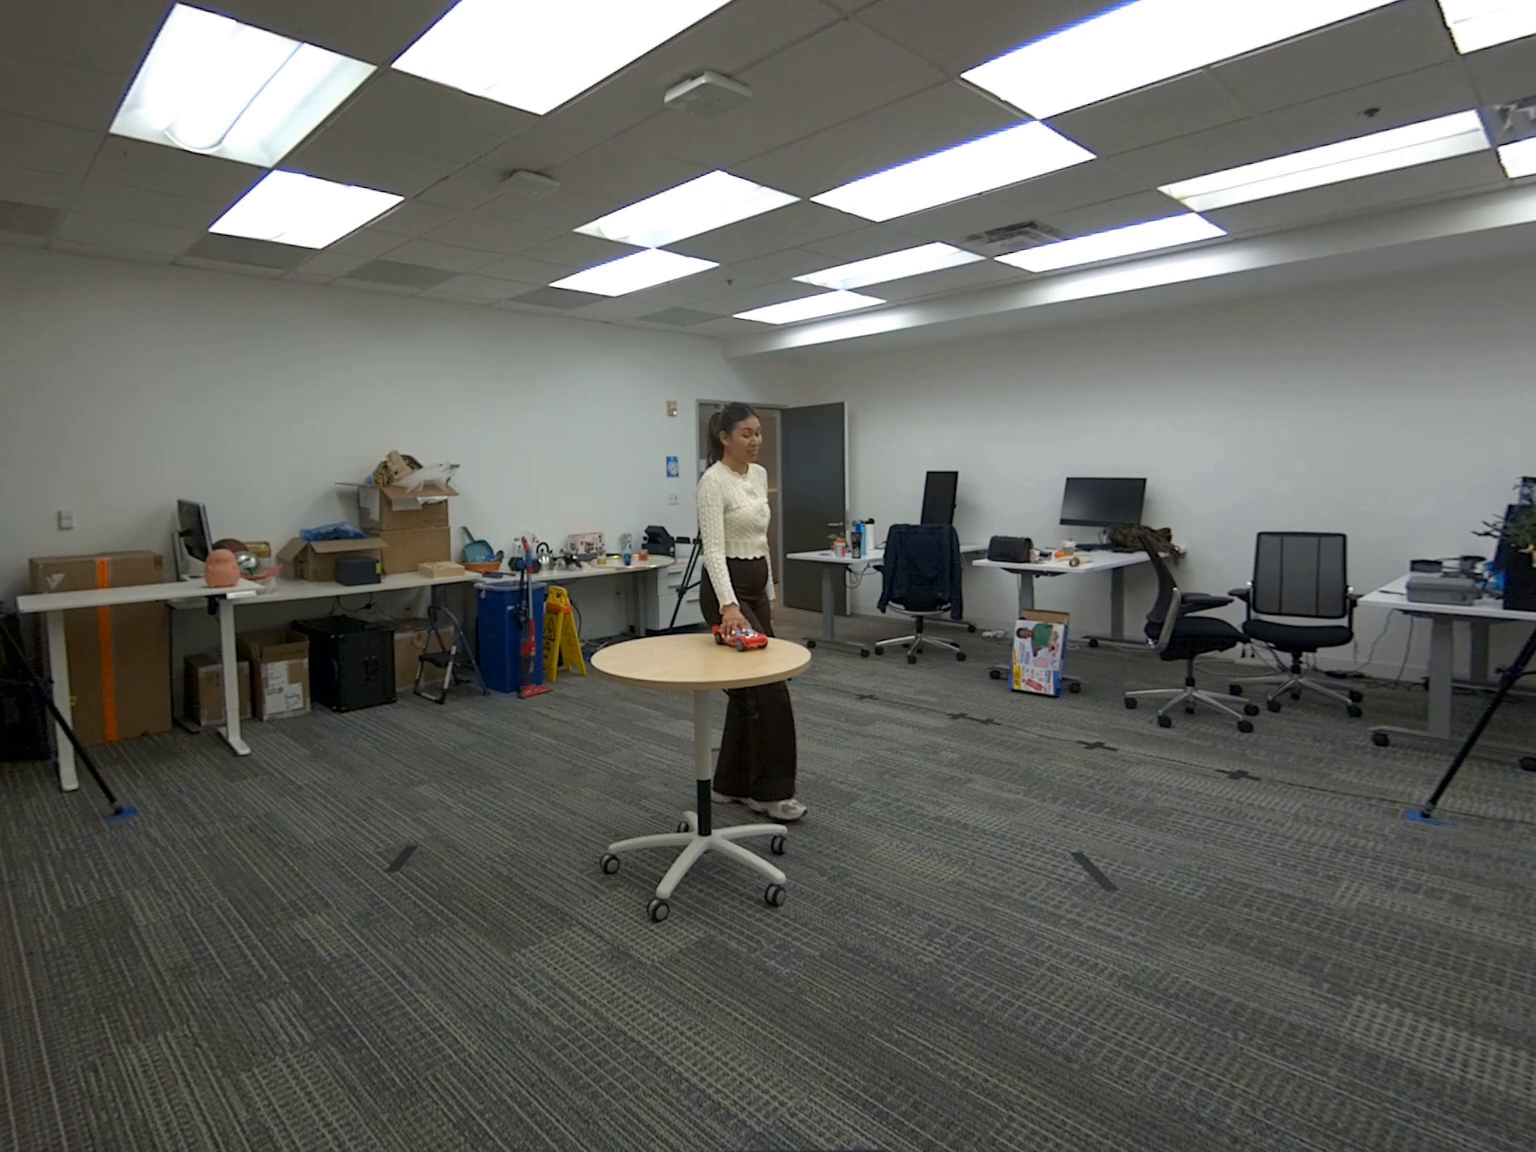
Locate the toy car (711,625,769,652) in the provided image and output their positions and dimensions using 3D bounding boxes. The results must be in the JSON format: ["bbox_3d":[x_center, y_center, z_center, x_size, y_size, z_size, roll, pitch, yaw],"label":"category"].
[{"bbox_3d":[-0.111,0.226,3.139,0.127,0.082,0.264,-5,19,-31],"label":"toy car"}]
